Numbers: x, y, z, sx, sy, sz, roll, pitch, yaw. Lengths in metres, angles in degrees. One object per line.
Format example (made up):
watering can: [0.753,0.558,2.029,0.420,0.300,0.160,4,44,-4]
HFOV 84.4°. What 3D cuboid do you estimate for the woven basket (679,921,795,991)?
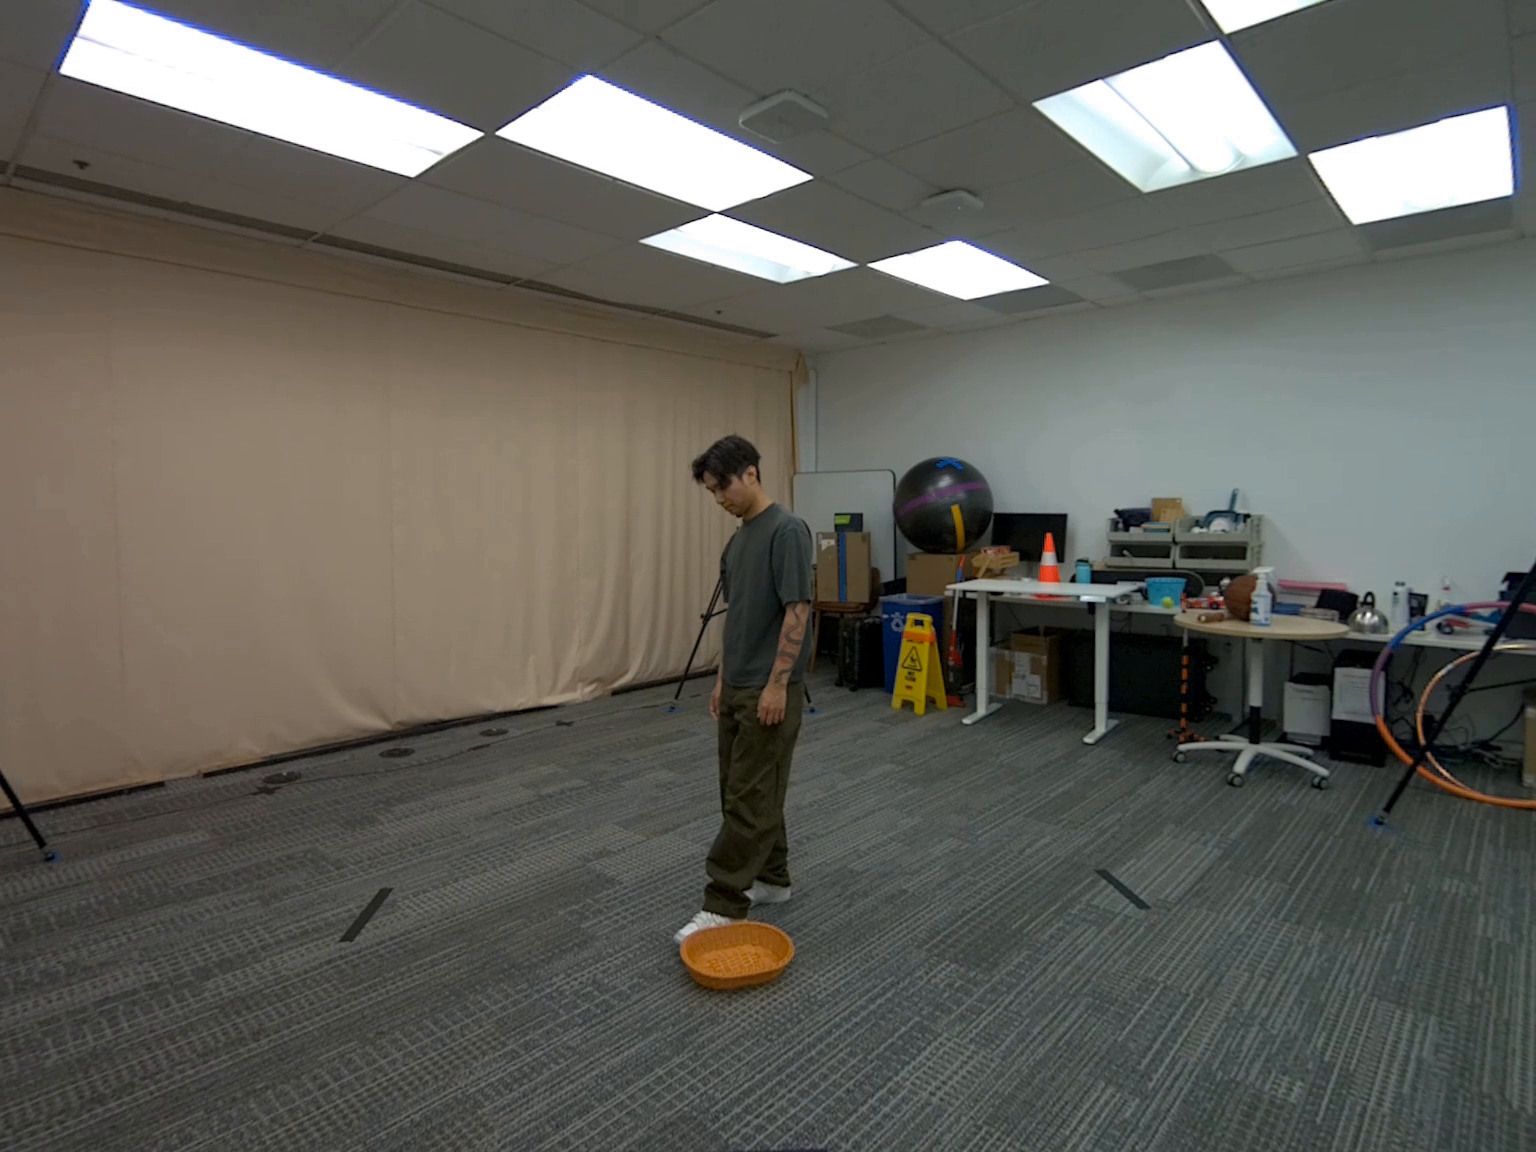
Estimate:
woven basket: [-0.088,1.135,2.515,0.343,0.073,0.259,-1,9,-21]
